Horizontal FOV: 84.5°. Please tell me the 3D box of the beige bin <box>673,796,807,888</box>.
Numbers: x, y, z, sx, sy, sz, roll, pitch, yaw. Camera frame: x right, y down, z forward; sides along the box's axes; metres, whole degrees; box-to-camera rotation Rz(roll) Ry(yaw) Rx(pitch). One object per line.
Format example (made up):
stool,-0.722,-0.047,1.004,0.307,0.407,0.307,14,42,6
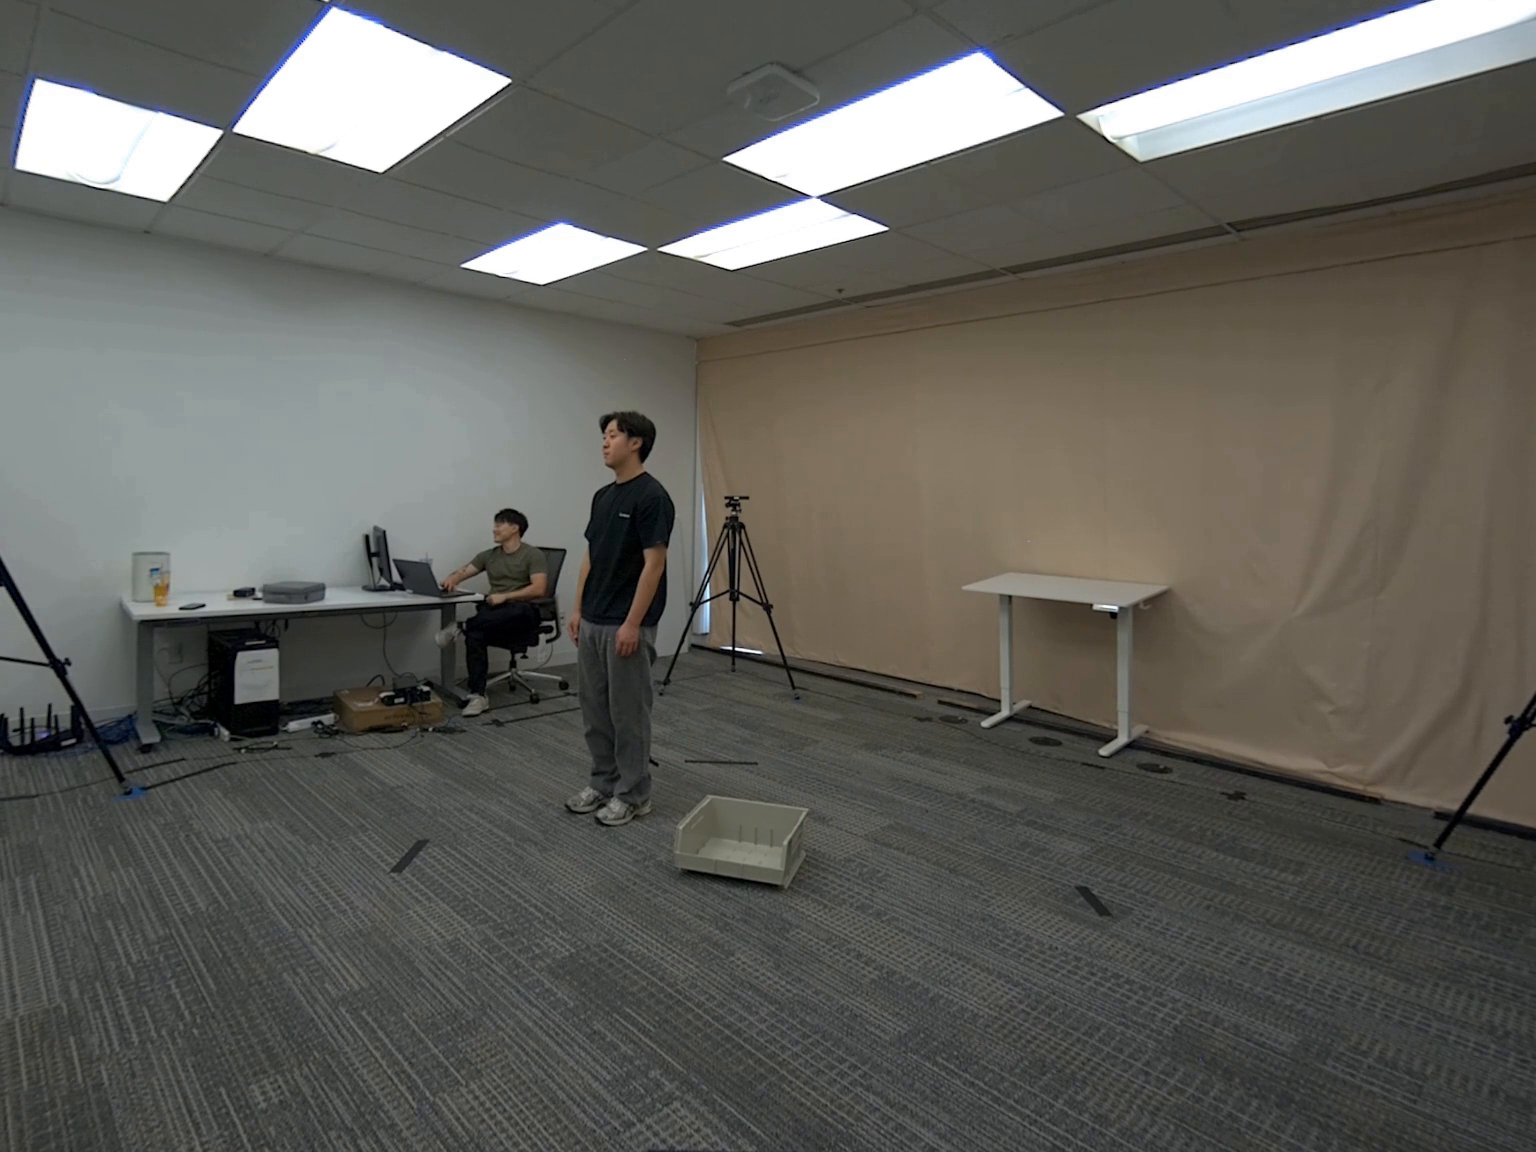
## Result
beige bin,-0.097,1.009,3.187,0.428,0.188,0.373,2,4,16
